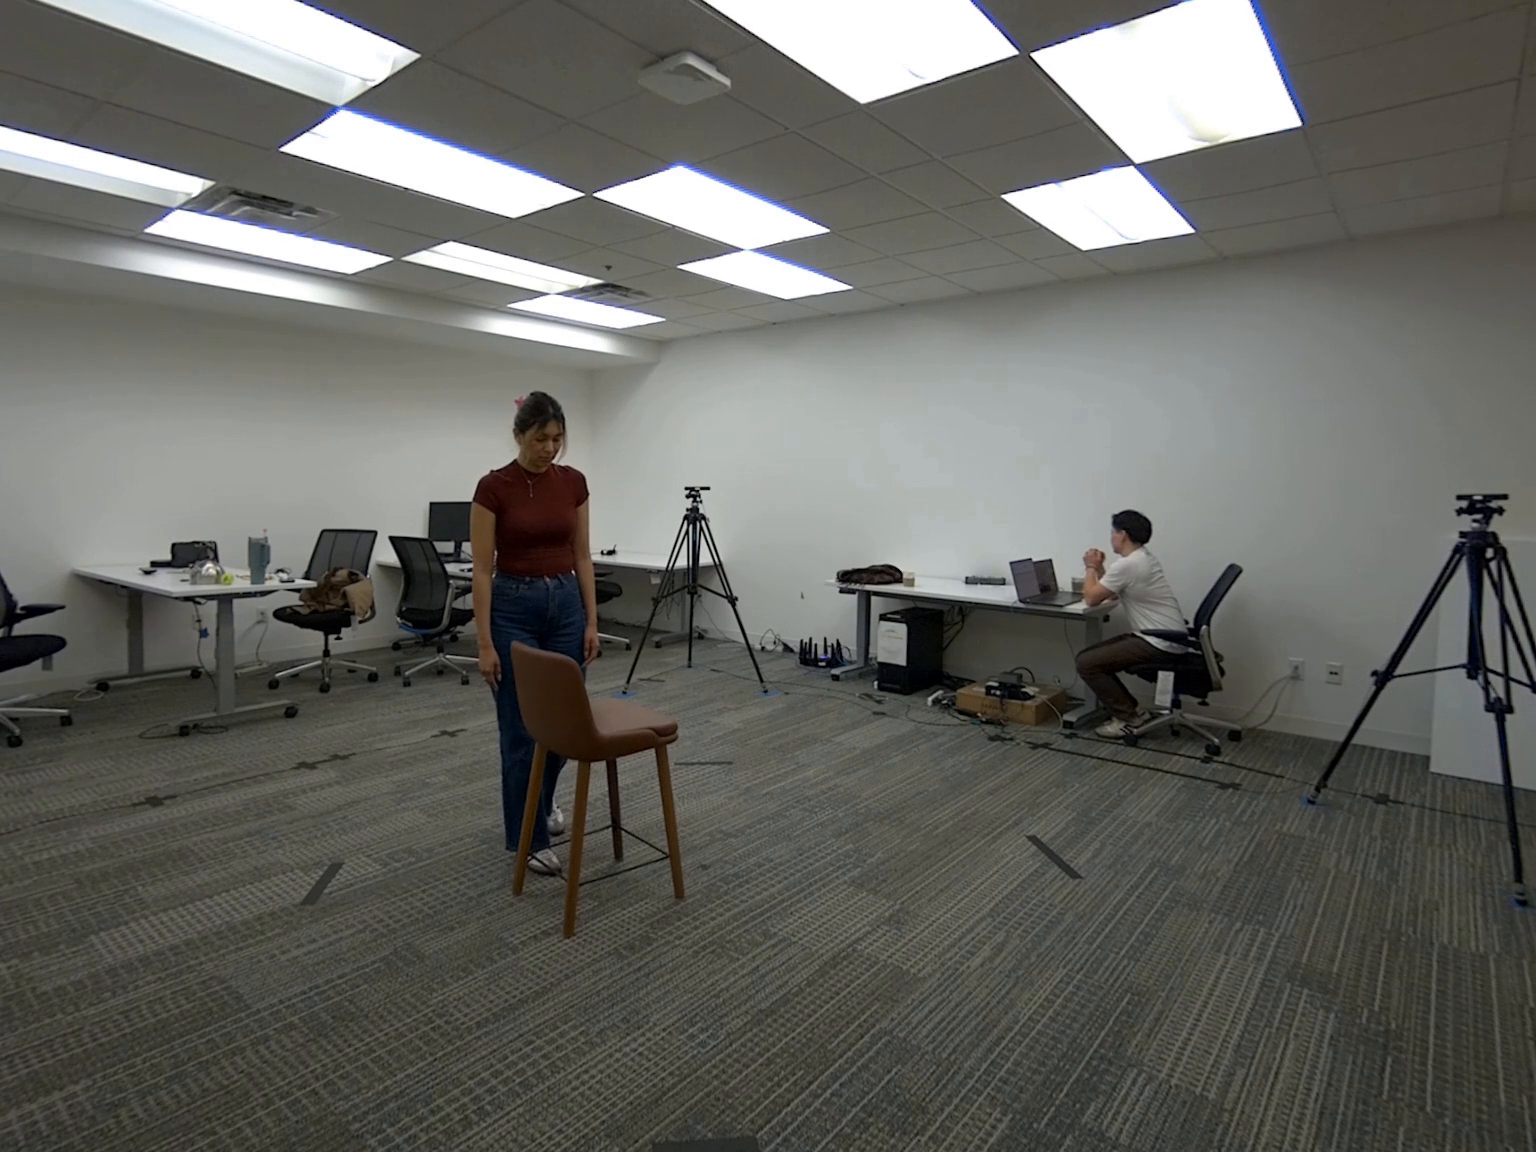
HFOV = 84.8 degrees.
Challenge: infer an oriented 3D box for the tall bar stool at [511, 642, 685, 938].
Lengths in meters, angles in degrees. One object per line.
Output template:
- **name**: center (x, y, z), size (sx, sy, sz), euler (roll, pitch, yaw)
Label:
- **tall bar stool**: center (-0.585, 0.651, 2.864), size (0.454, 0.886, 0.472), euler (-5, 6, -42)
